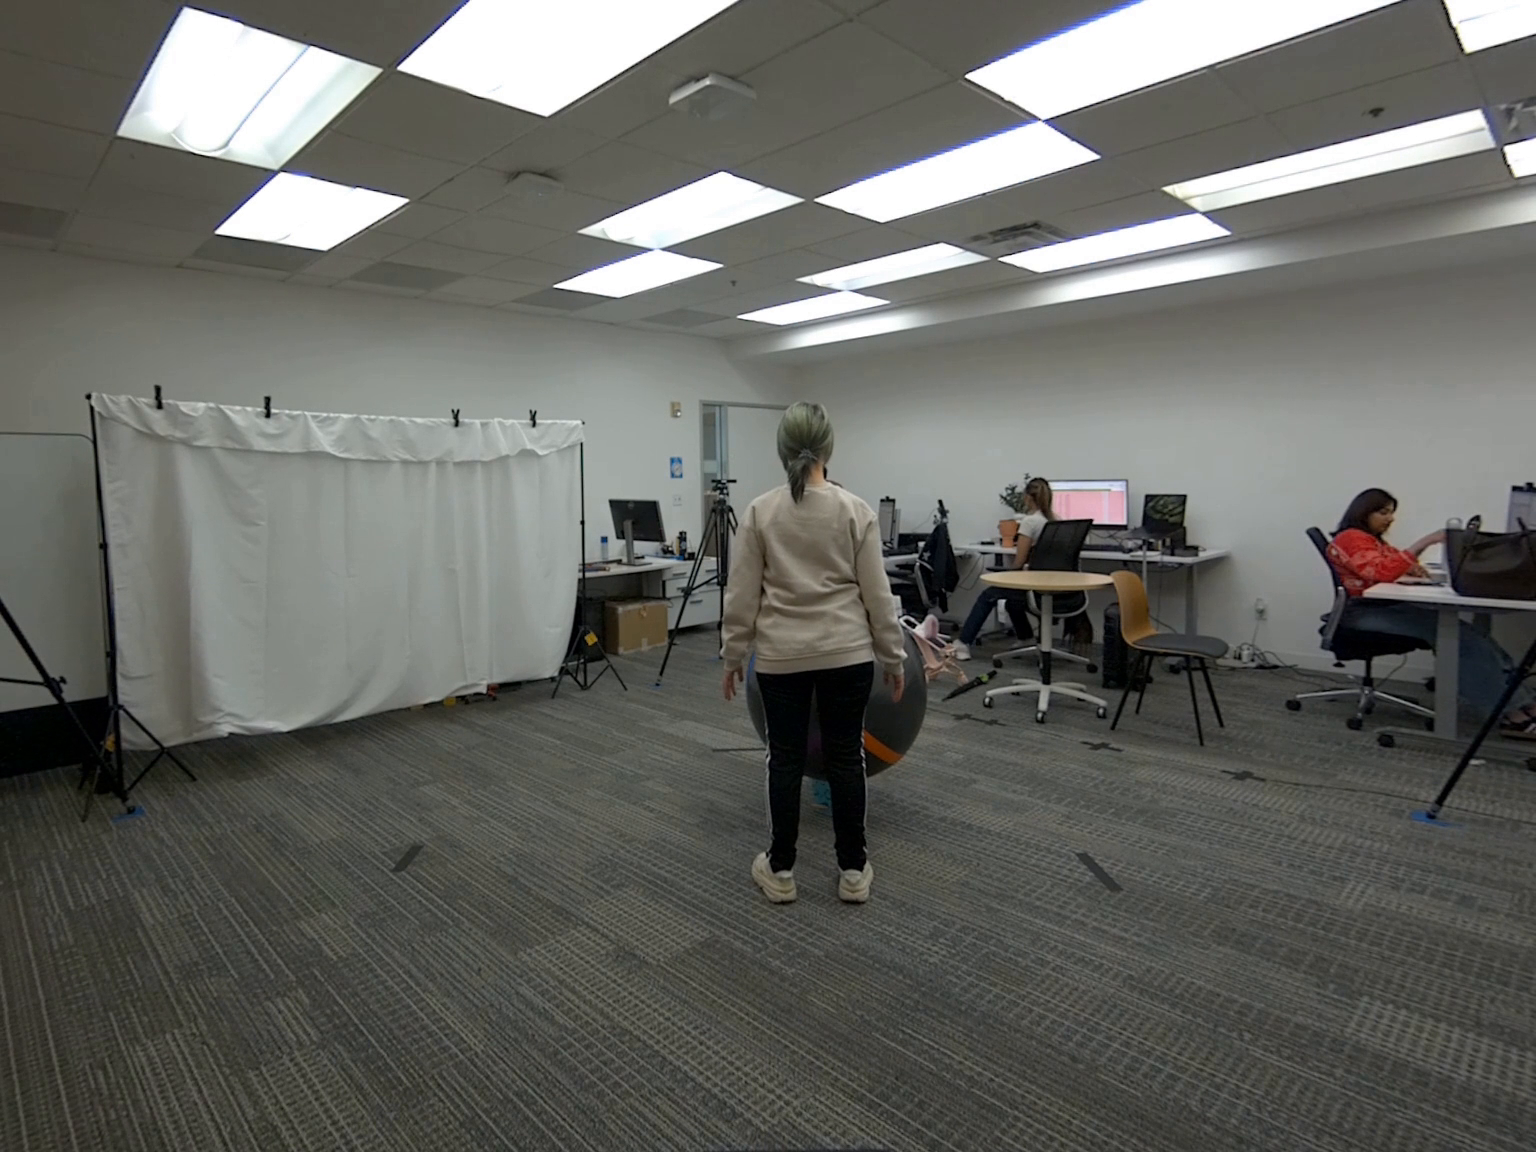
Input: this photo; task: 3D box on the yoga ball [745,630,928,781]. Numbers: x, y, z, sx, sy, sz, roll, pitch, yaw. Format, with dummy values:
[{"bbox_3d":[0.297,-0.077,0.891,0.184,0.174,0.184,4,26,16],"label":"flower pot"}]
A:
[{"bbox_3d":[0.285,0.476,3.596,0.757,0.755,0.762,-1,5,-2],"label":"yoga ball"}]
